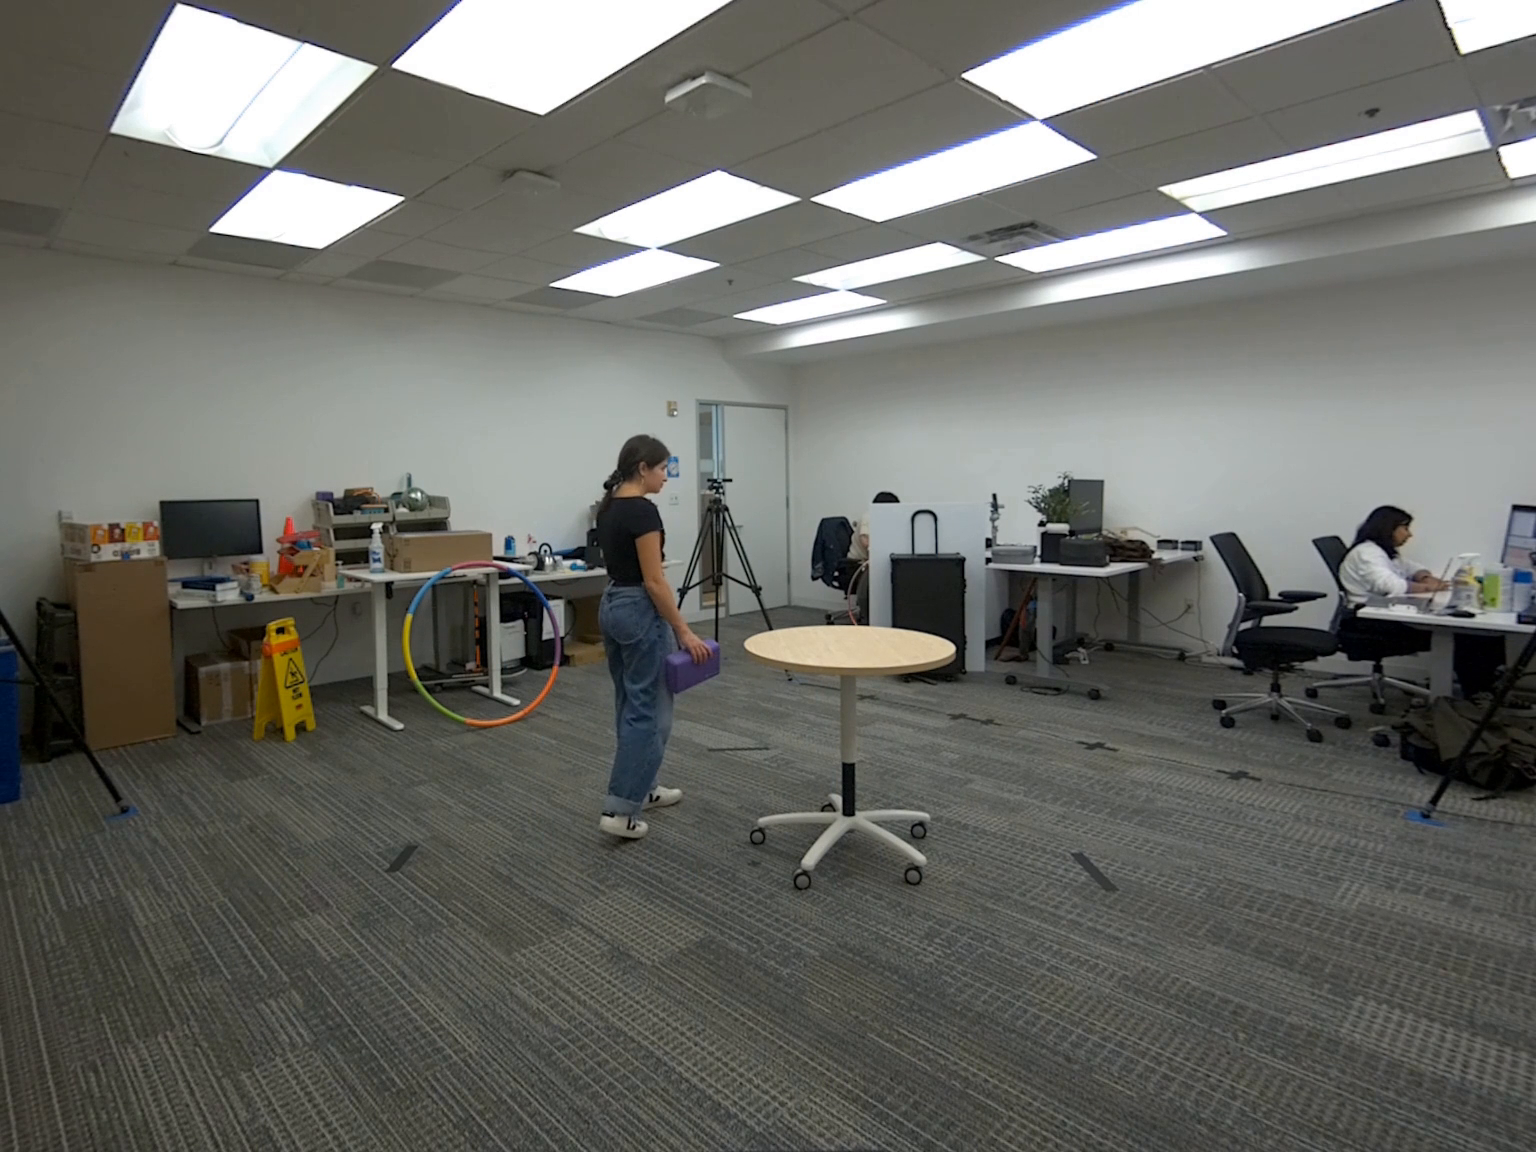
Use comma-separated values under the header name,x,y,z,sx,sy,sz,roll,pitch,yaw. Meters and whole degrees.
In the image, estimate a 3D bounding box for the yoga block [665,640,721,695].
name,x,y,z,sx,sy,sz,roll,pitch,yaw
yoga block,-0.305,0.357,3.422,0.225,0.146,0.079,-18,29,-34
